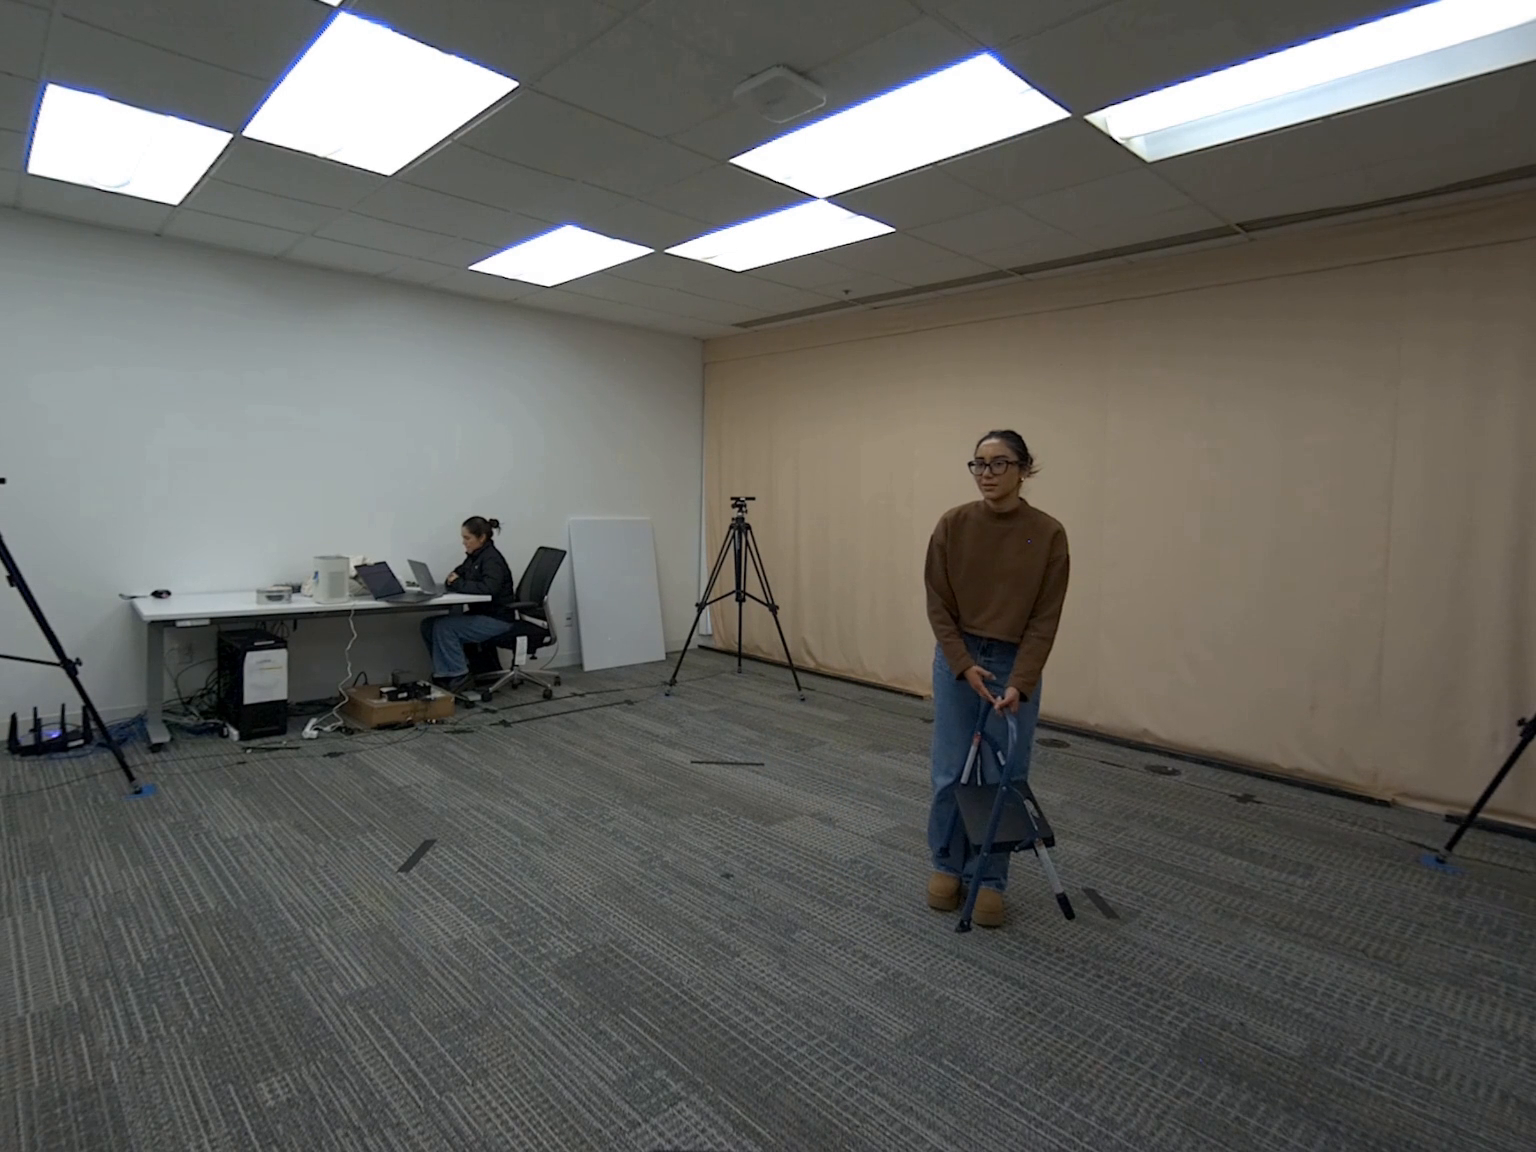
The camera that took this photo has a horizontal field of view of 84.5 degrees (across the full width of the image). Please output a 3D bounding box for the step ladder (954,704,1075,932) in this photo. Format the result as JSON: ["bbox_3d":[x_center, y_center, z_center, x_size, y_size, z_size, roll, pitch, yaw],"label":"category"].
[{"bbox_3d":[0.693,0.712,2.629,0.351,0.601,0.432,-9,11,6],"label":"step ladder"}]
